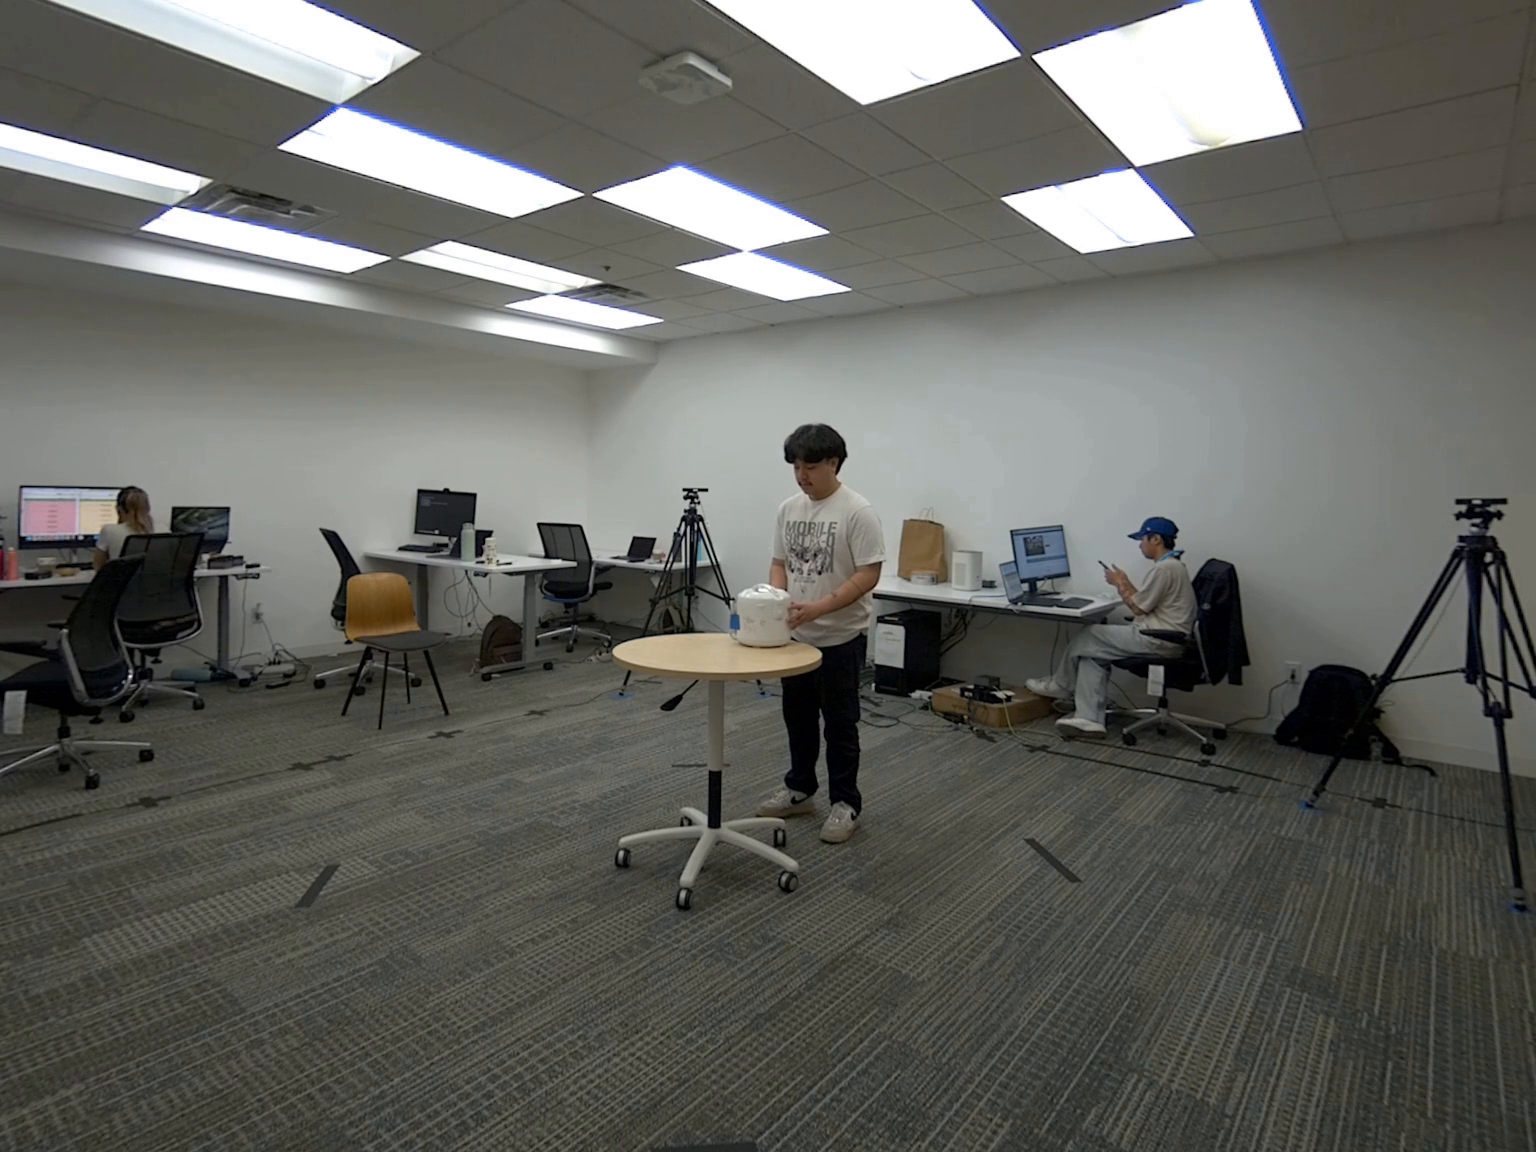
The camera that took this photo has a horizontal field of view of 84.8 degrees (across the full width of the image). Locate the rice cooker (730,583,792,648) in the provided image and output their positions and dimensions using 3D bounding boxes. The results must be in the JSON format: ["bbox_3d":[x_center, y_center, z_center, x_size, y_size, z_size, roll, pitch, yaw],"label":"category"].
[{"bbox_3d":[-0.027,0.144,3.271,0.212,0.232,0.227,-2,6,-30],"label":"rice cooker"}]
